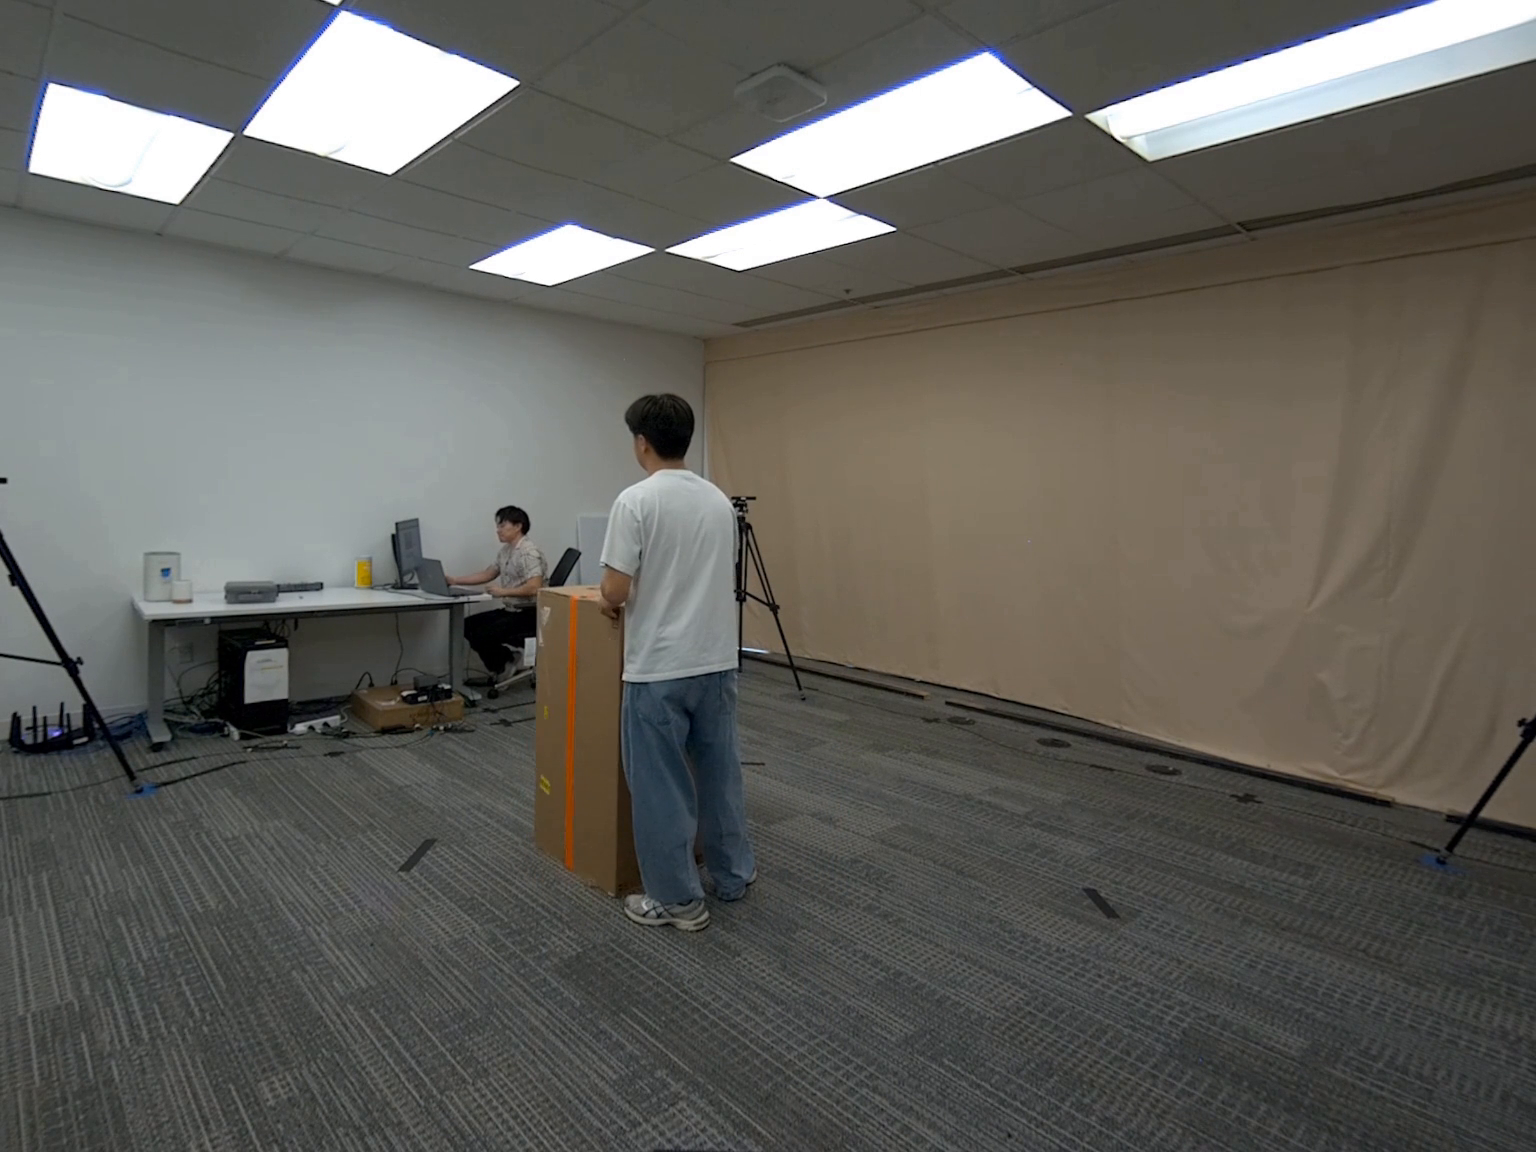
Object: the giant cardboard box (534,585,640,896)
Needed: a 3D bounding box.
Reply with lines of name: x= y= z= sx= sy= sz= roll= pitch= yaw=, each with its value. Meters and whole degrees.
giant cardboard box: x=-0.571 y=0.577 z=3.228 sx=0.416 sy=1.023 sz=0.592 roll=-2 pitch=5 yaw=-42
